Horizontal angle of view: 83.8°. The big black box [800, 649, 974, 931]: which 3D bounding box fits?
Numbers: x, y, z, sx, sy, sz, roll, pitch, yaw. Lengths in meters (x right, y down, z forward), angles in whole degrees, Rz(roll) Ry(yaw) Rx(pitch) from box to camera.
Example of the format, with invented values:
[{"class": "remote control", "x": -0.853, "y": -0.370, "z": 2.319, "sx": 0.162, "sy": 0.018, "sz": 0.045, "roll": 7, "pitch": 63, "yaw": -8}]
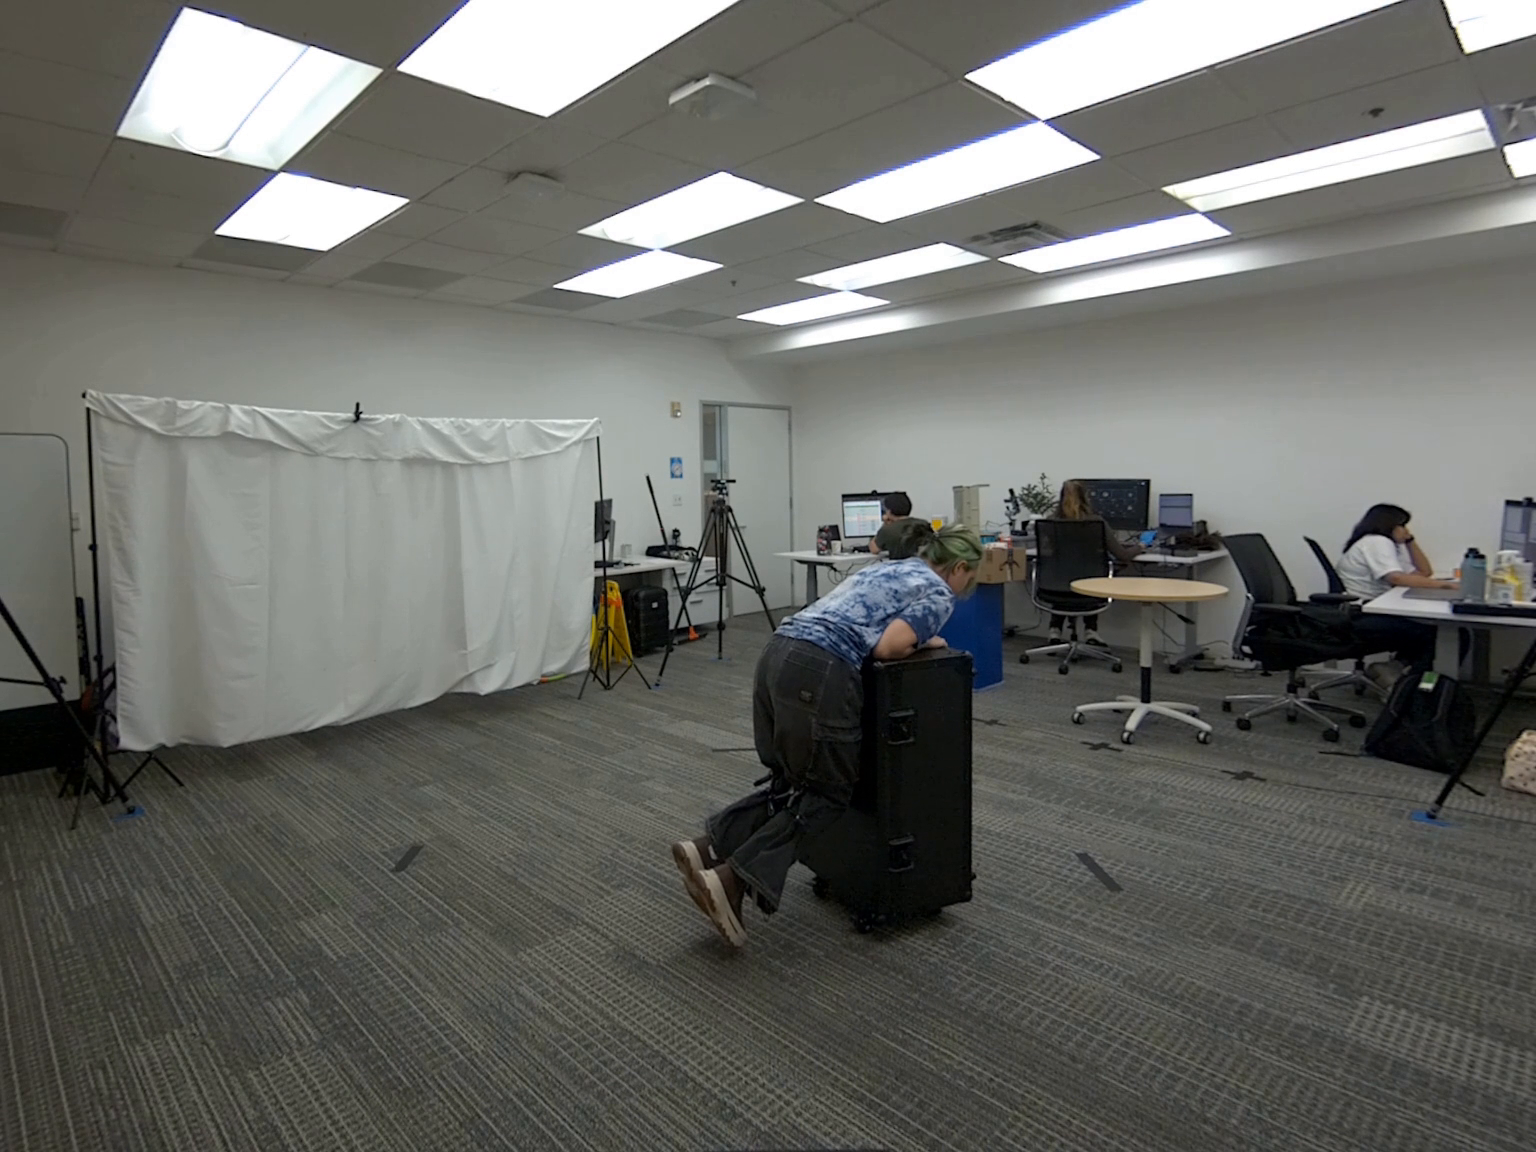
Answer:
[{"class": "big black box", "x": 0.383, "y": 0.600, "z": 2.796, "sx": 0.388, "sy": 0.858, "sz": 0.534, "roll": -2, "pitch": 5, "yaw": -26}]
